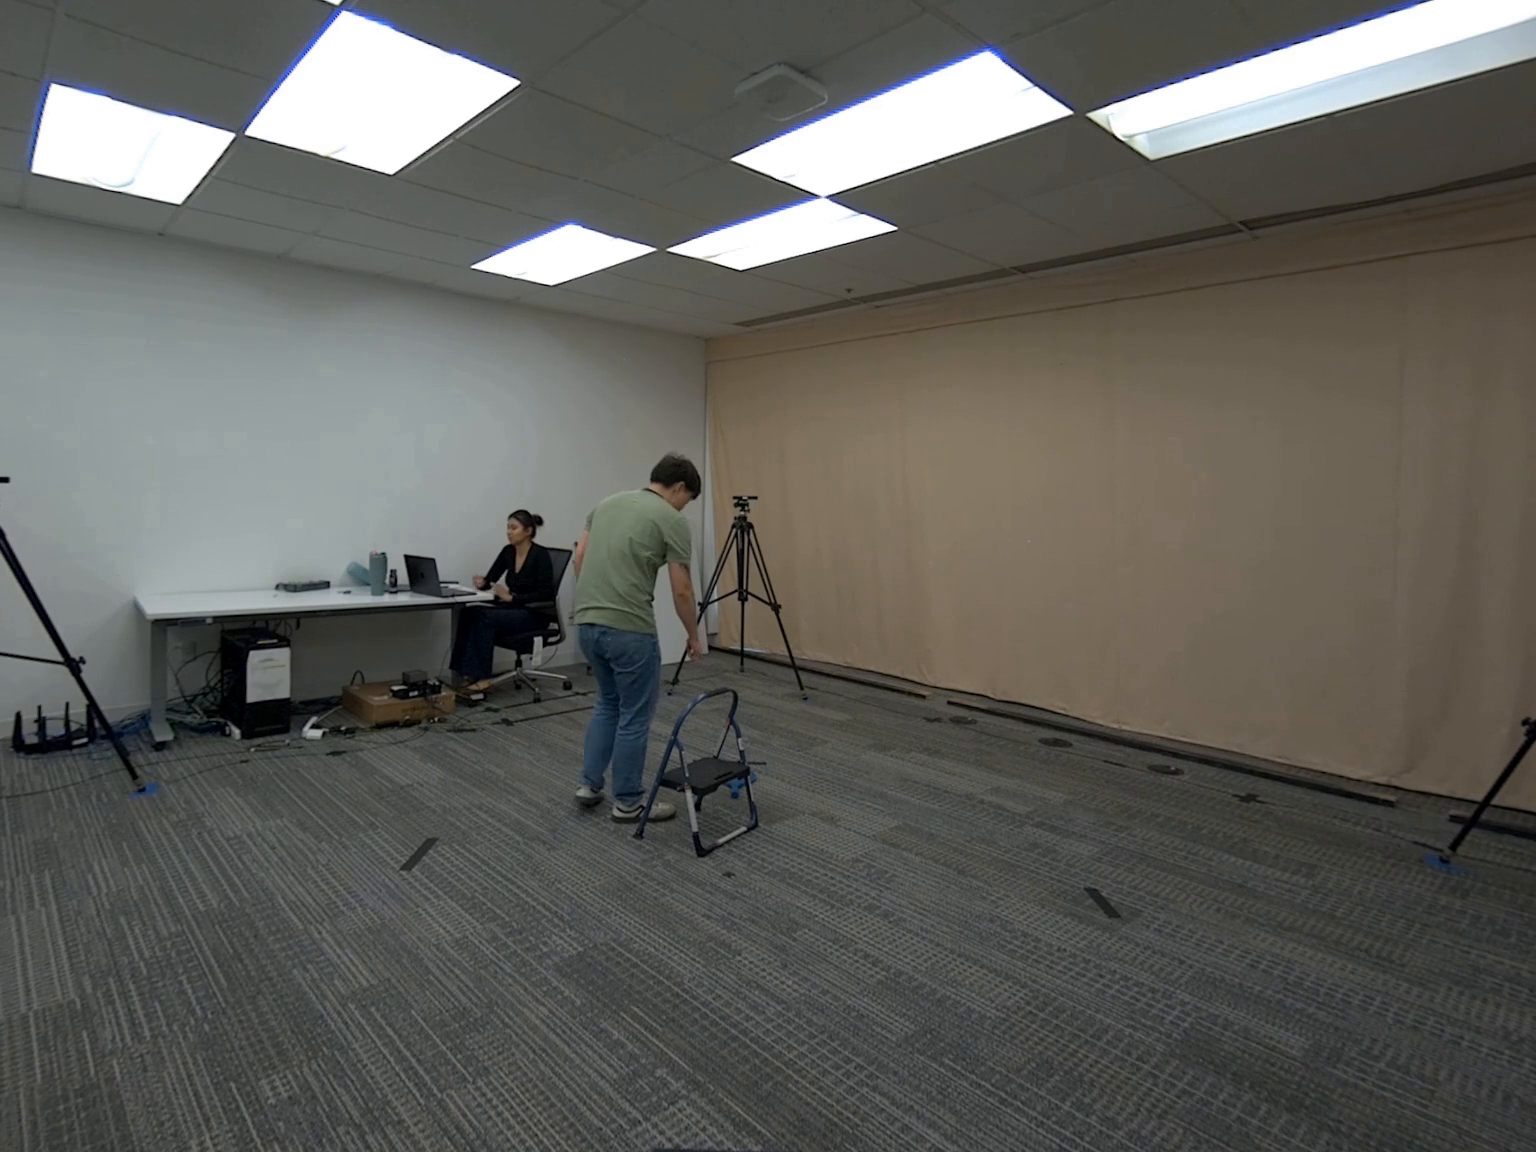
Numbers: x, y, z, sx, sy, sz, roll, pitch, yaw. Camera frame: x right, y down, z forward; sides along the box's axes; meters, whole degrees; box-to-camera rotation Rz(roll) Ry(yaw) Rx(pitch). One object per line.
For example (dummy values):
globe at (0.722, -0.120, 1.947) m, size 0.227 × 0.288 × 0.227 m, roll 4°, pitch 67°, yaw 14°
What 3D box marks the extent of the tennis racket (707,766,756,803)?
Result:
tennis racket at (-0.173, 1.009, 4.123) m, size 0.214 × 0.032 × 0.433 m, roll 2°, pitch 4°, yaw 1°
